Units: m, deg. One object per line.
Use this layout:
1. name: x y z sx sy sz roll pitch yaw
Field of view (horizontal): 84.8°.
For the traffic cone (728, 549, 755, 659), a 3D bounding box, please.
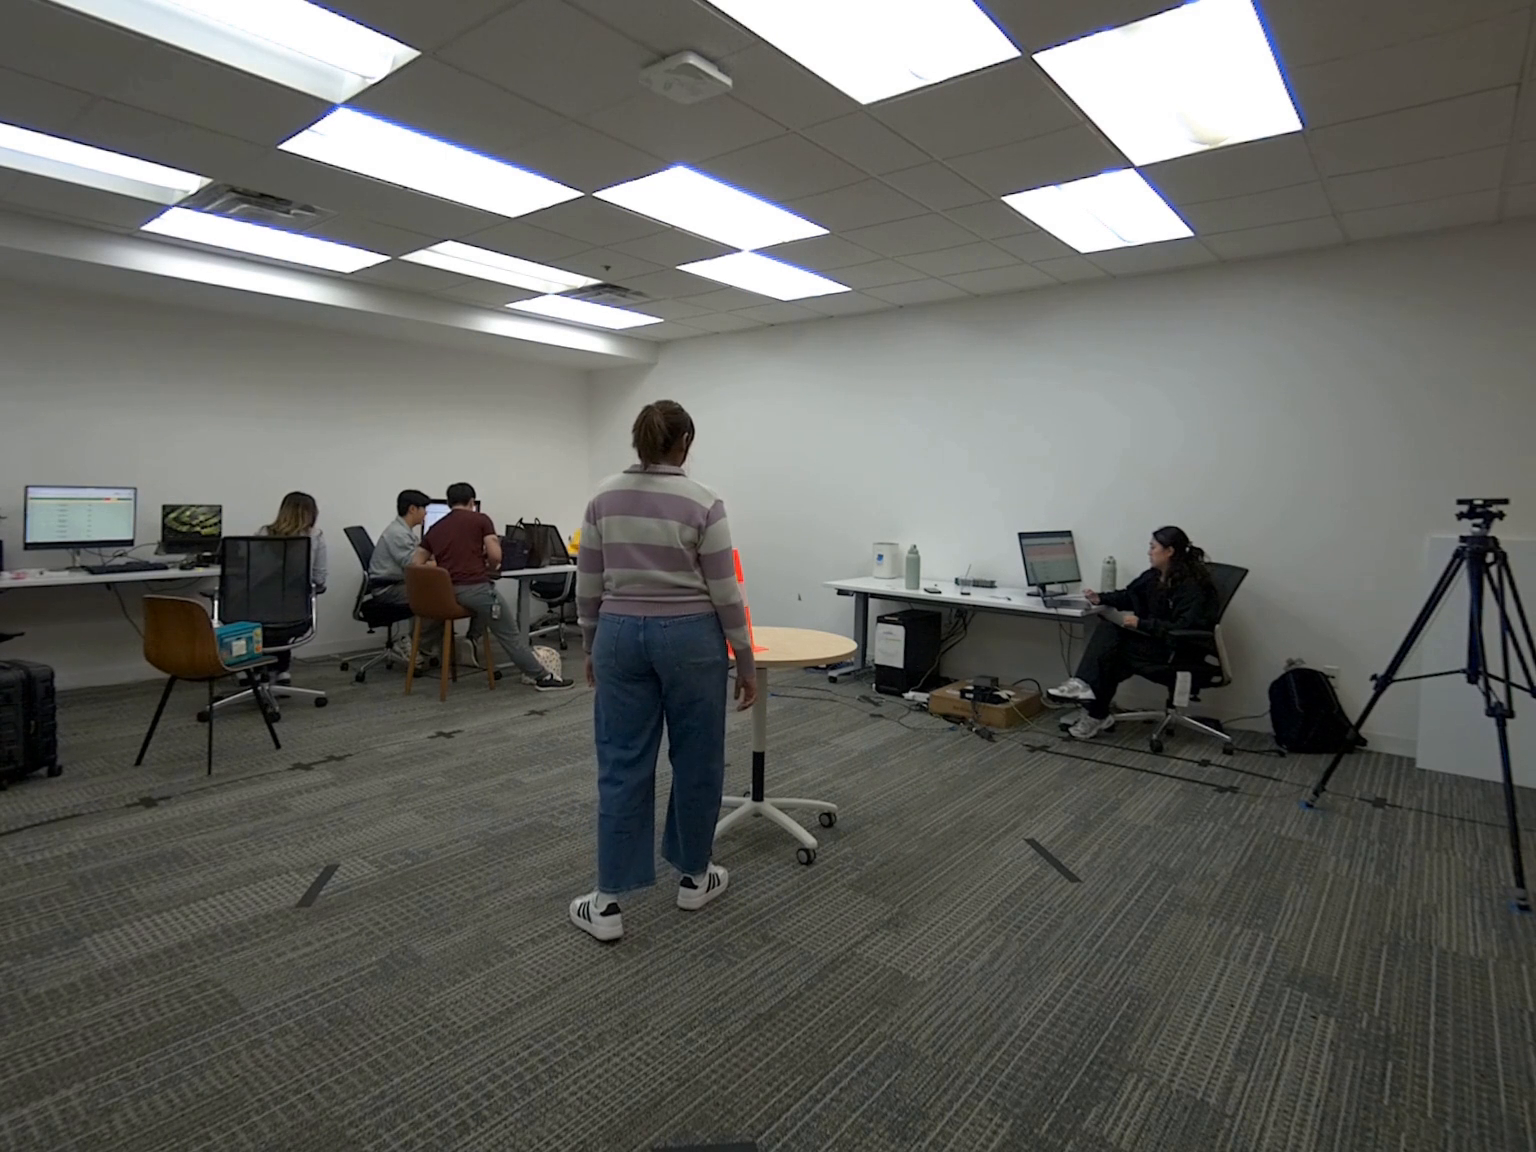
1. traffic cone: -0.138 0.087 3.229 0.210 0.383 0.199 1 3 37
